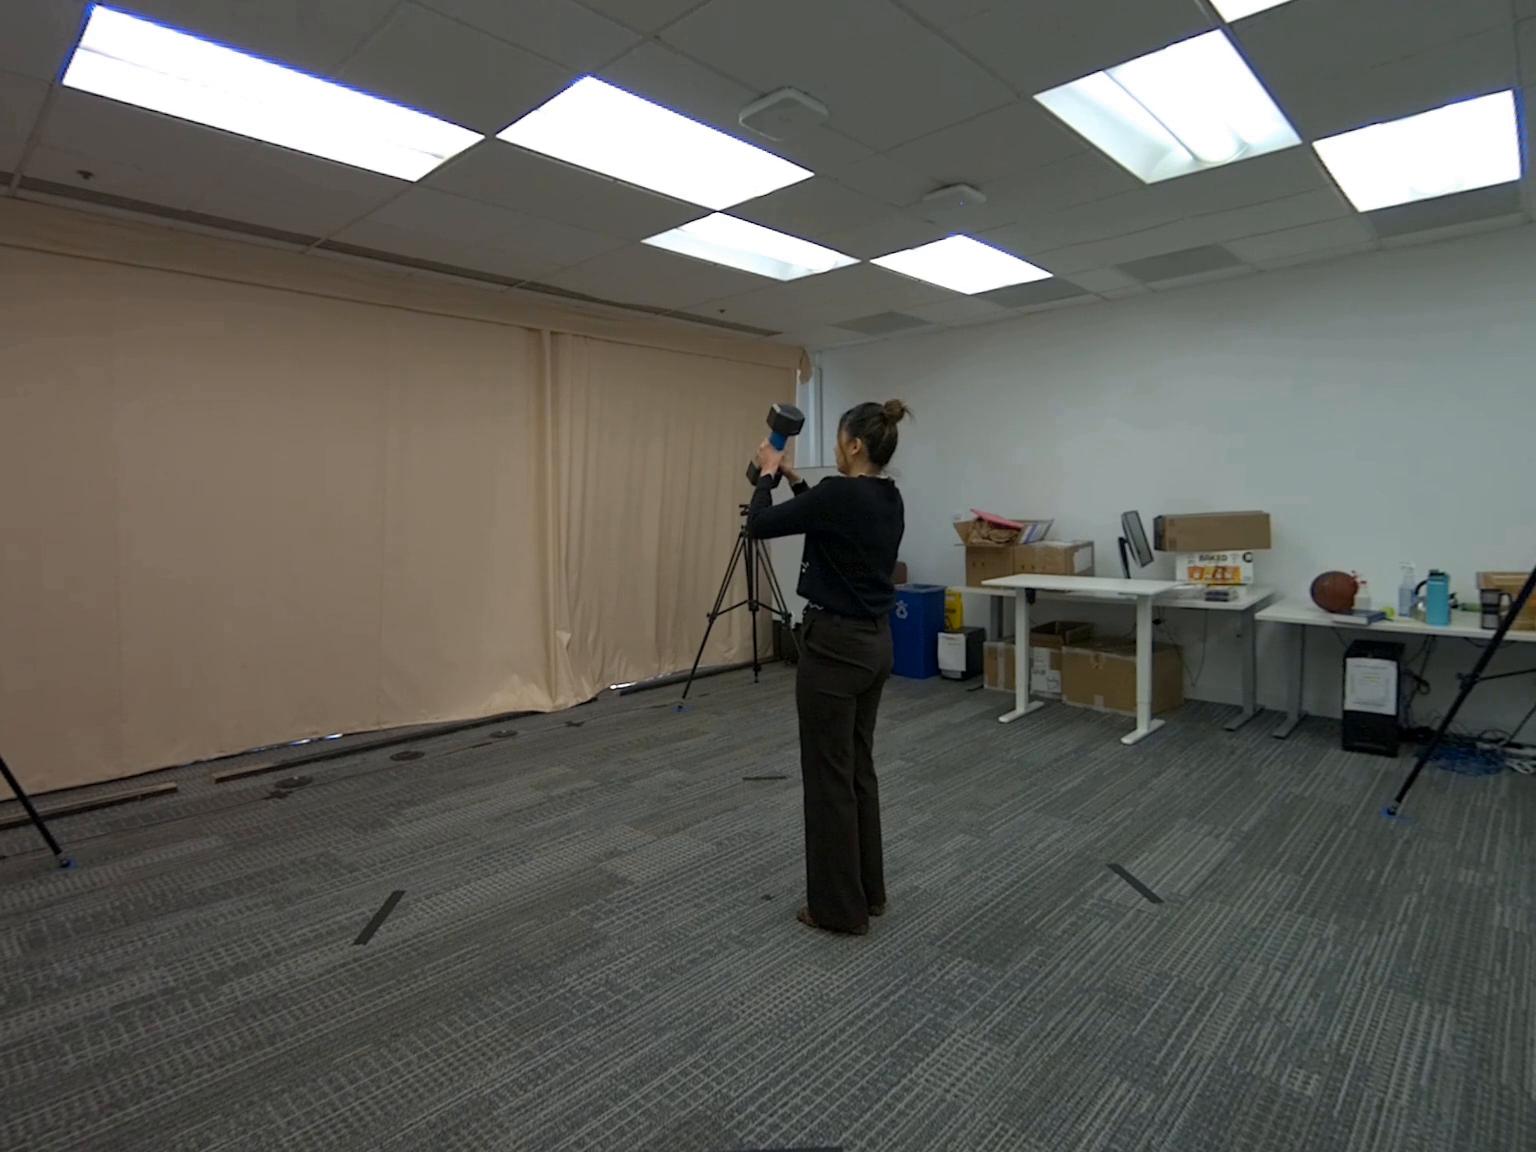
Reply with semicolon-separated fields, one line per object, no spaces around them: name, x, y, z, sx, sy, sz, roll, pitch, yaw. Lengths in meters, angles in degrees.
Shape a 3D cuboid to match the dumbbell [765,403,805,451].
dumbbell;0.032;-0.447;2.889;0.106;0.292;0.127;5;34;-28
